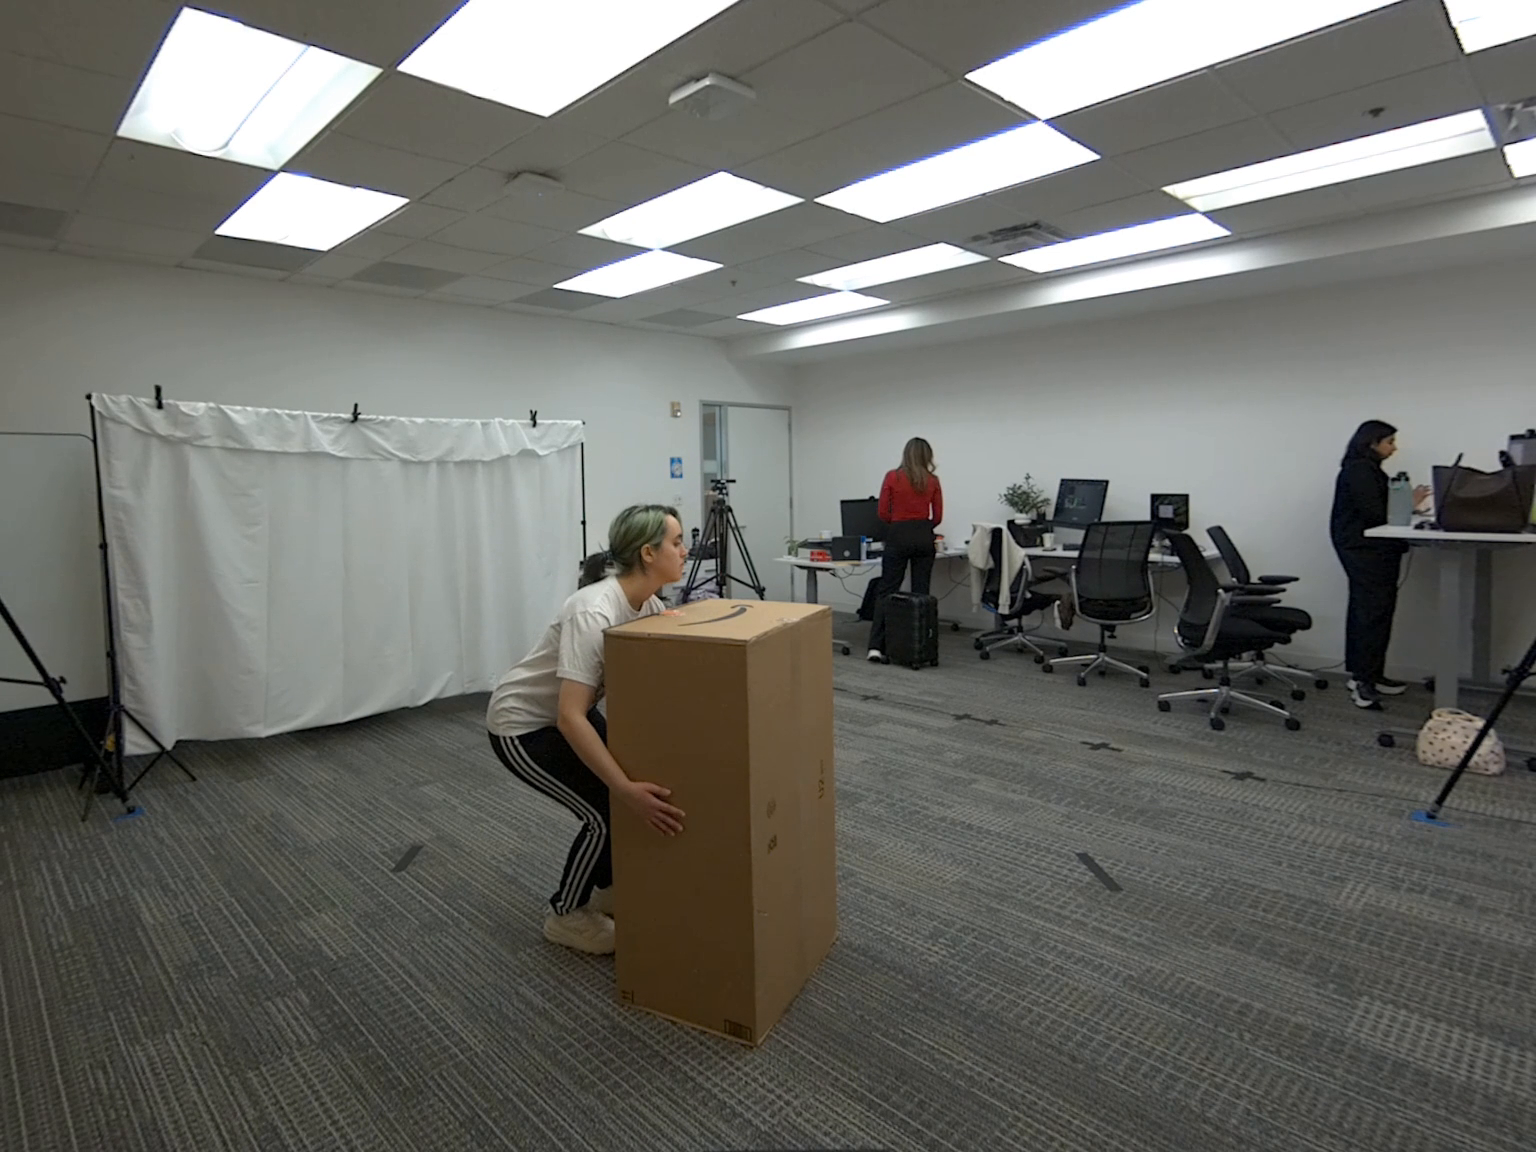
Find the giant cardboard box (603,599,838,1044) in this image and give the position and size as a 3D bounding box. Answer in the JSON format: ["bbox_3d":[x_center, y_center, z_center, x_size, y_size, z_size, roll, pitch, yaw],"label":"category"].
[{"bbox_3d":[-0.109,0.621,2.414,0.436,1.021,0.566,1,5,26],"label":"giant cardboard box"}]
